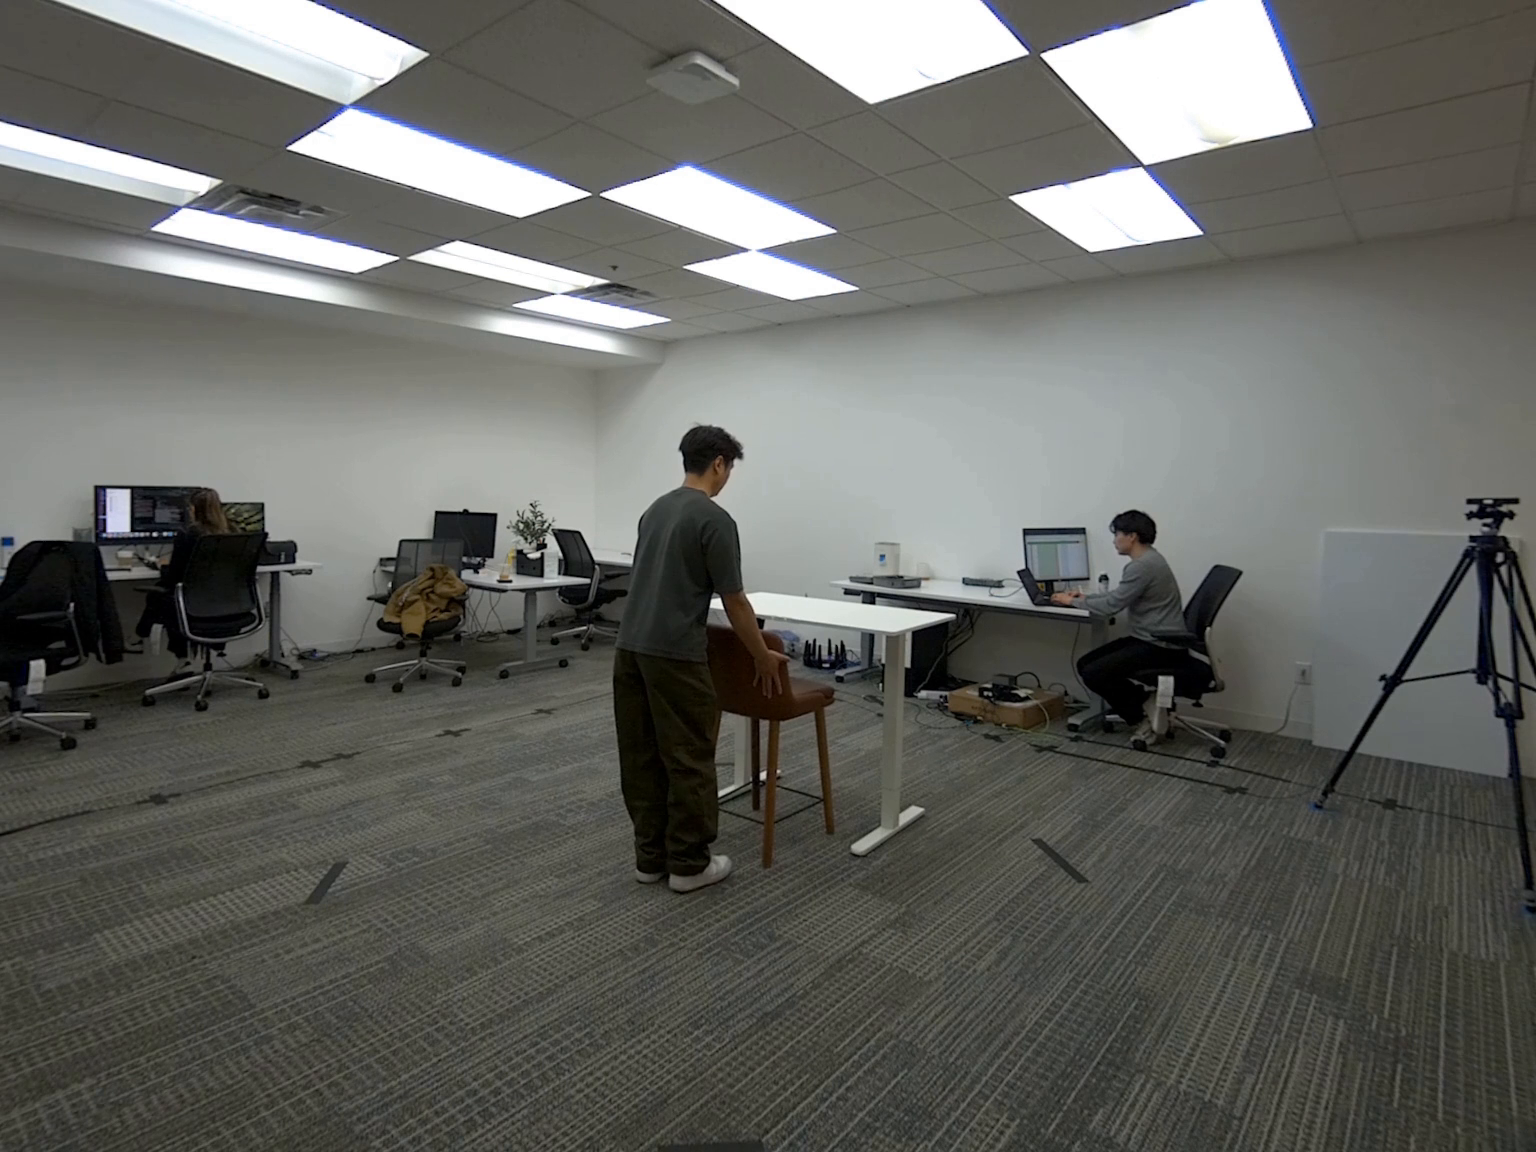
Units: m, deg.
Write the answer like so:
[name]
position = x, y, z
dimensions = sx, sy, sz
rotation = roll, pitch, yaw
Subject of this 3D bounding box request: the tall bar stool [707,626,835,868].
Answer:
[tall bar stool]
position = -0.026, 0.602, 3.381
dimensions = 0.472, 0.885, 0.455
rotation = 5, 7, 38
